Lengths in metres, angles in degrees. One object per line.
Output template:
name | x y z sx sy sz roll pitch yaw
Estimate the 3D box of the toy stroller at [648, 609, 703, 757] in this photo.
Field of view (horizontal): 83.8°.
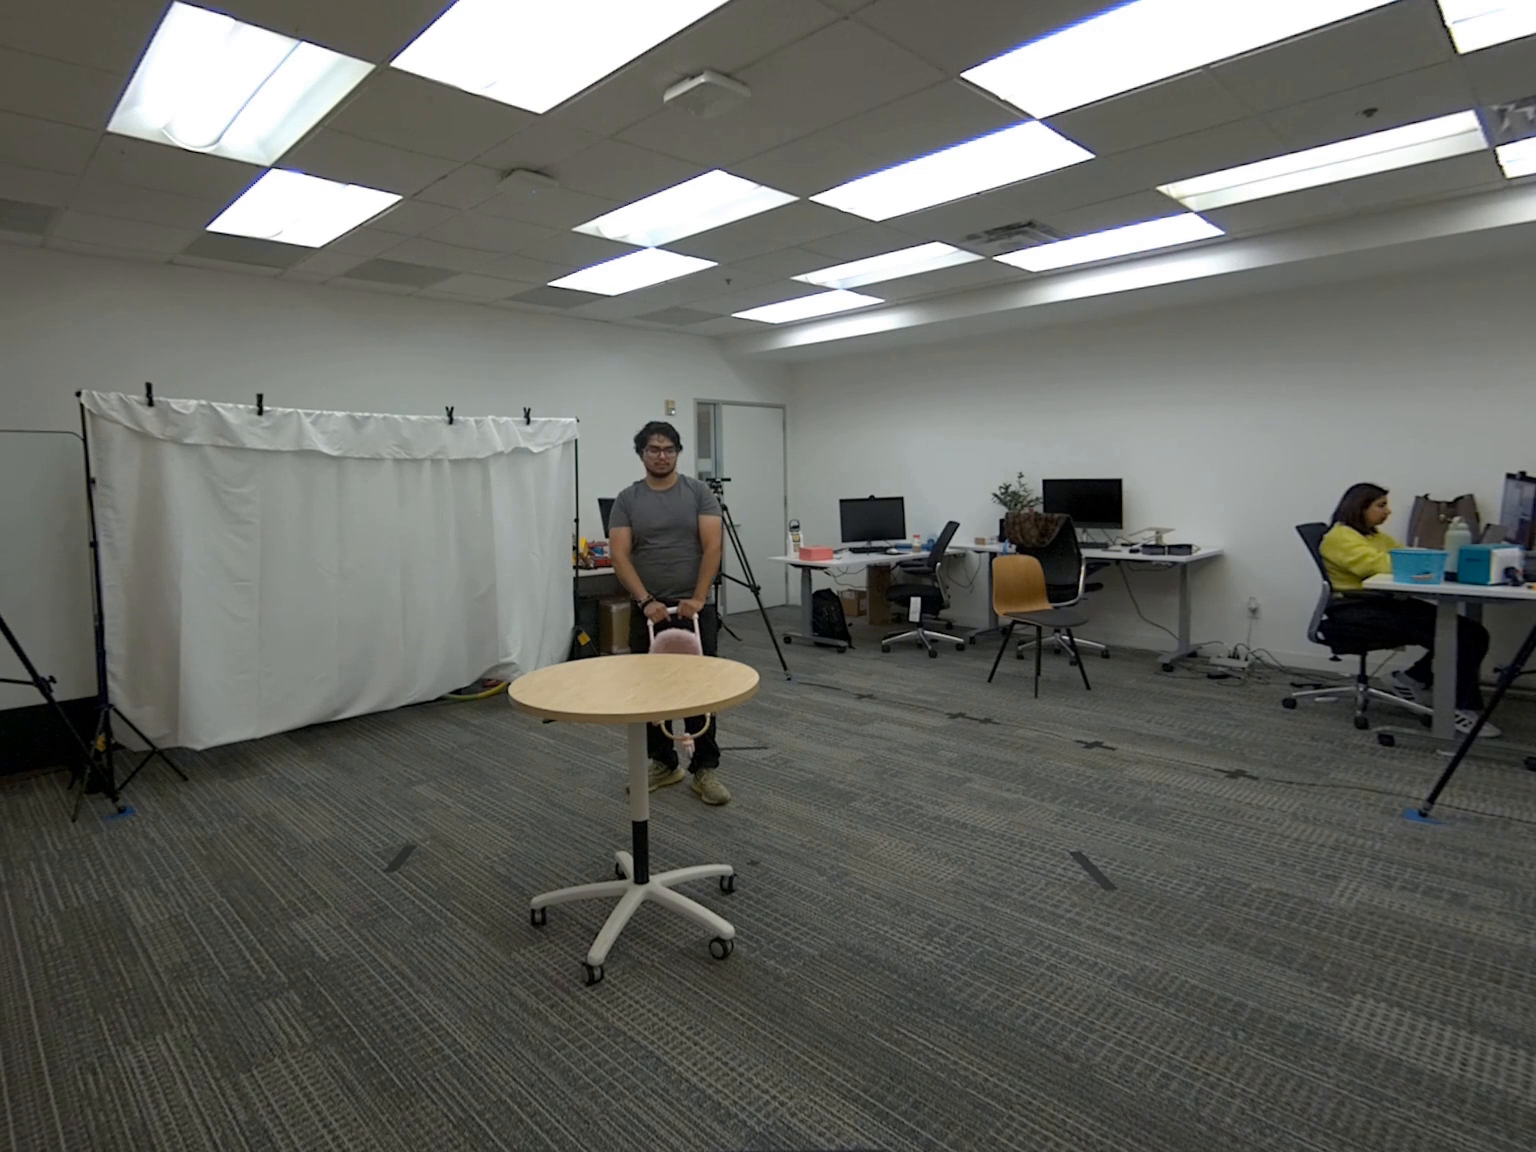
toy stroller | -0.363 0.435 3.455 0.281 0.528 0.346 -7 12 -2
